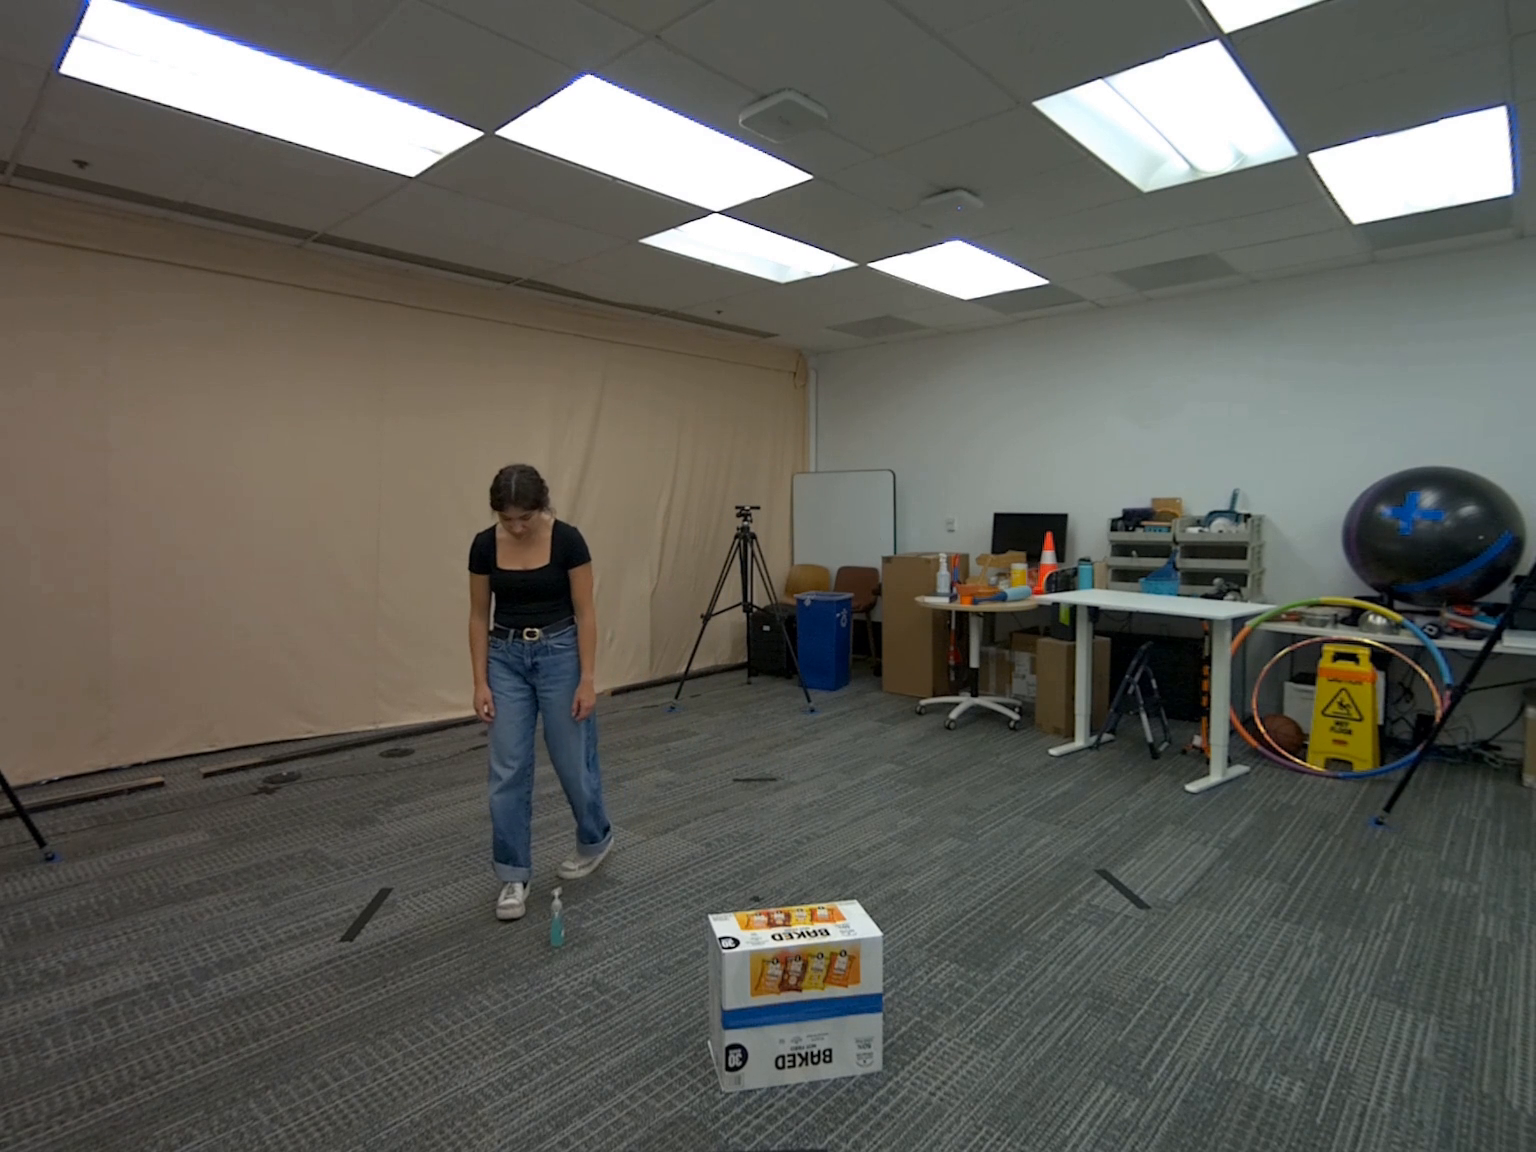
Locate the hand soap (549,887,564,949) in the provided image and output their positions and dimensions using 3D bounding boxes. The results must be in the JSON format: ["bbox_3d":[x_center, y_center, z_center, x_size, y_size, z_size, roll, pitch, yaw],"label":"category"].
[{"bbox_3d":[-0.674,1.094,2.685,0.043,0.168,0.084,0,5,2],"label":"hand soap"}]
